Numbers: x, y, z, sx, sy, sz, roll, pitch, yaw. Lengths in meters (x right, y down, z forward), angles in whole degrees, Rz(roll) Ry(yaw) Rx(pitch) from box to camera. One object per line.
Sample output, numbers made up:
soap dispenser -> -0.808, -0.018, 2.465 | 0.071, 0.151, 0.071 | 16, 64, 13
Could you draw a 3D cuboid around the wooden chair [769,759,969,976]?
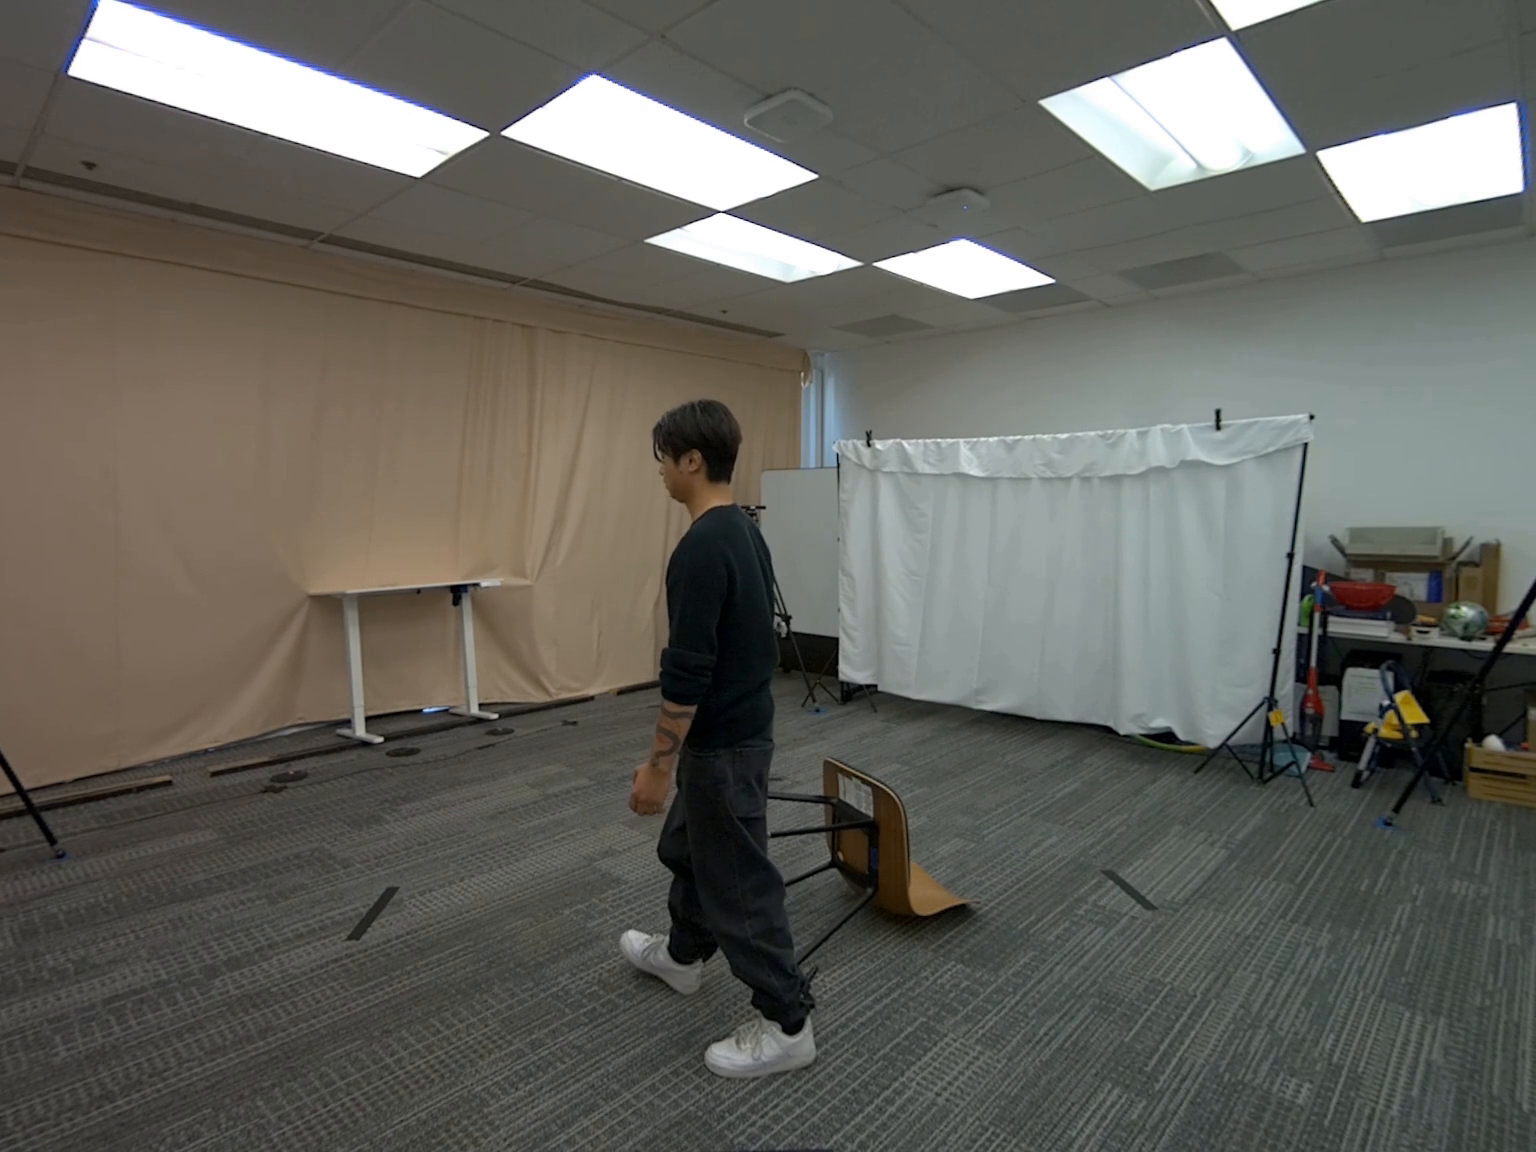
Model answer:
wooden chair -> 0.288, 0.898, 2.808 | 0.856, 0.522, 0.491 | -2, 5, -26
